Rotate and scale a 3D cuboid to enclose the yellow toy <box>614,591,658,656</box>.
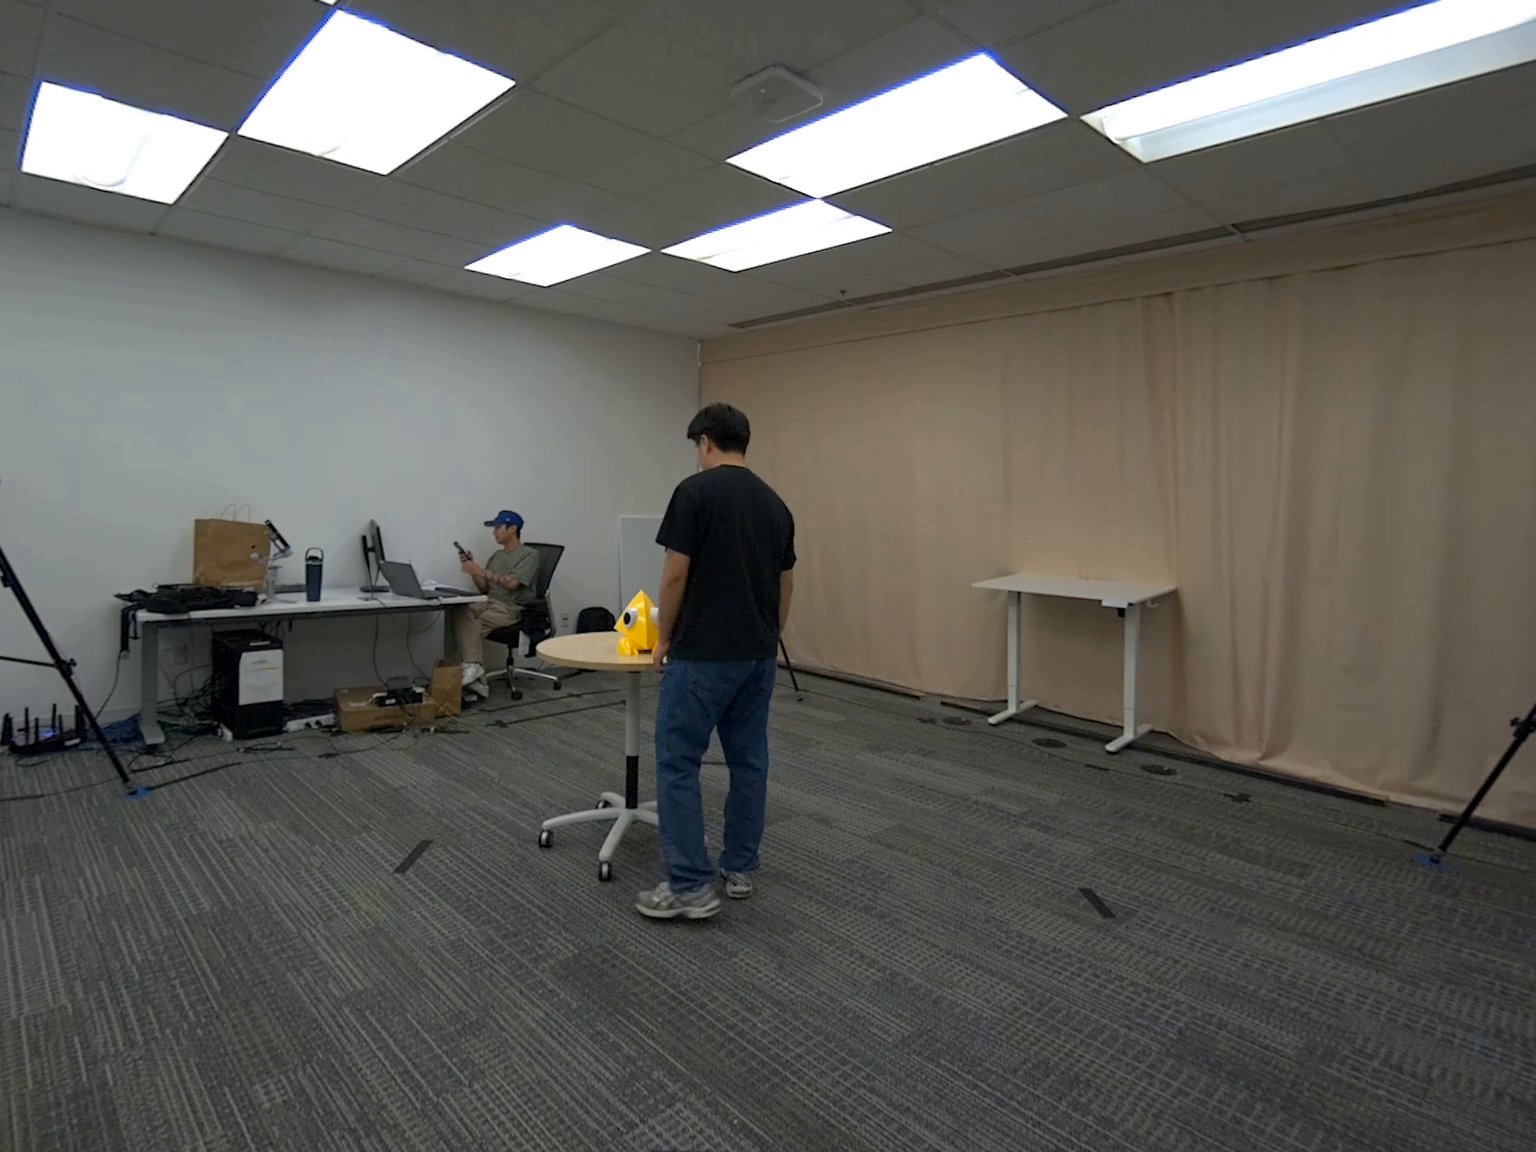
[{"bbox_3d":[-0.488,0.177,3.235,0.202,0.230,0.196,0,4,-15],"label":"yellow toy"}]
